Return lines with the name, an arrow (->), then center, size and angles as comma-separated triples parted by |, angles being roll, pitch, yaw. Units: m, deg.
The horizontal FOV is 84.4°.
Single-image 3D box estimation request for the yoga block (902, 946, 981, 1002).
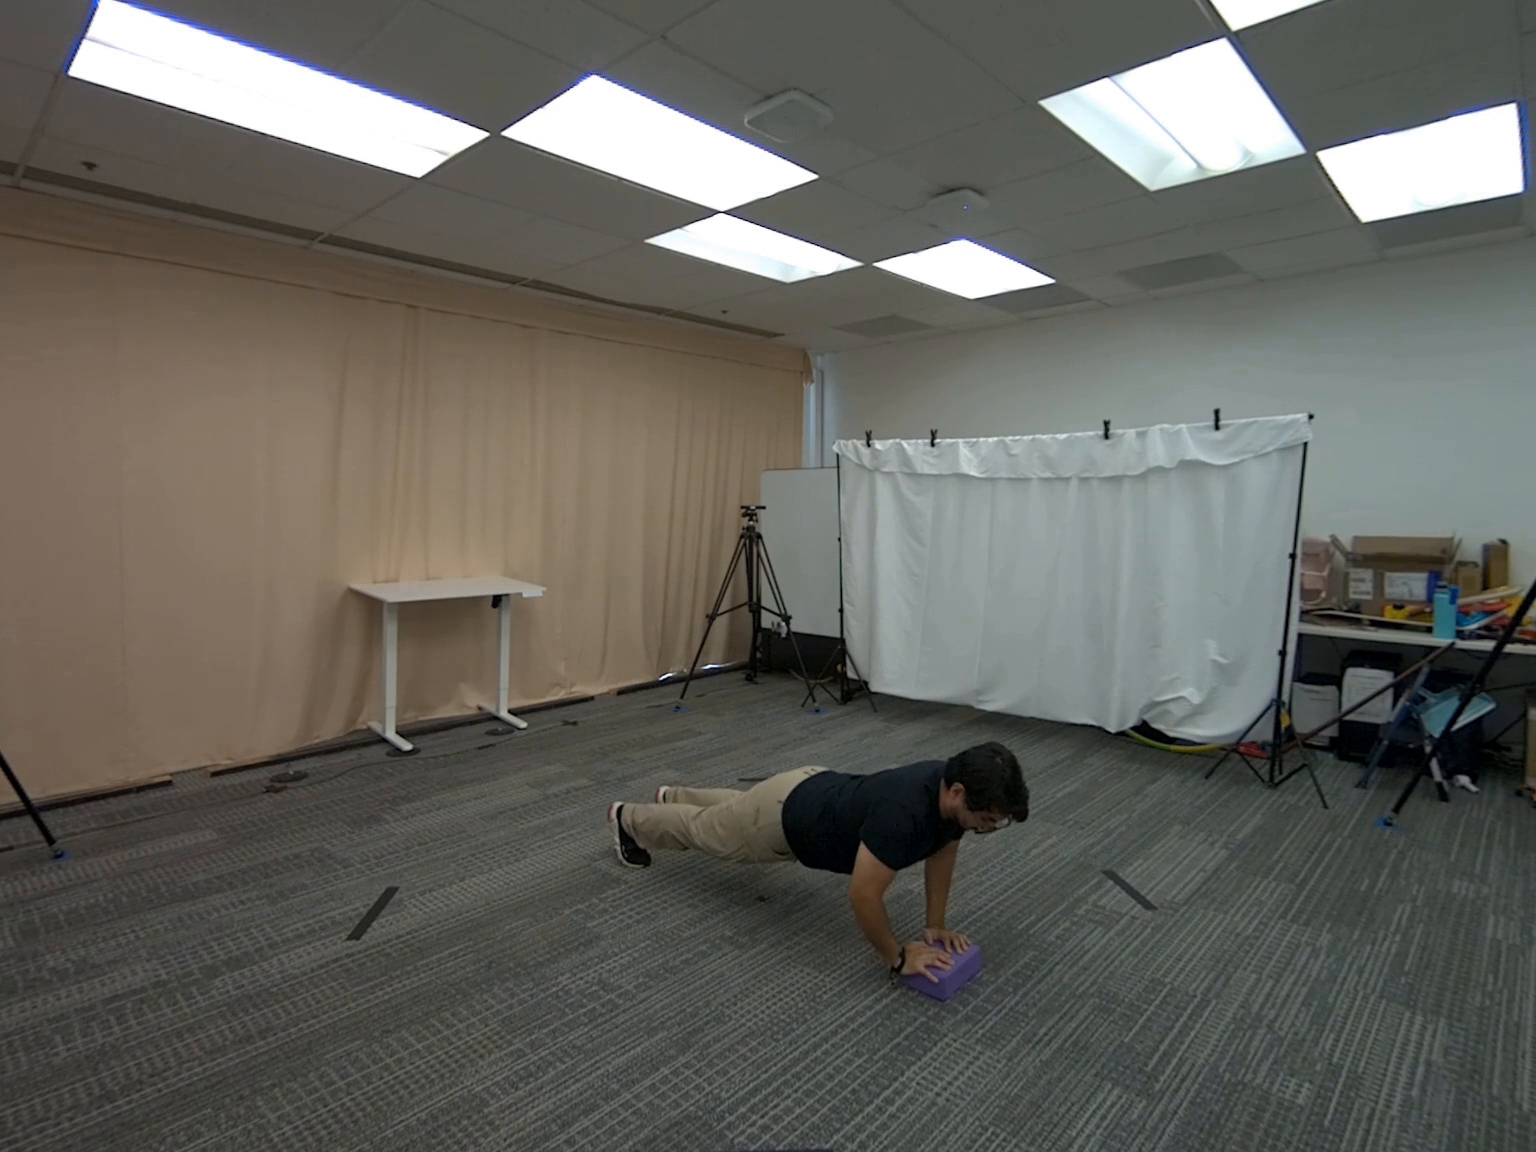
yoga block -> 0.515, 1.152, 2.480 | 0.154, 0.076, 0.222 | 4, 8, 40
